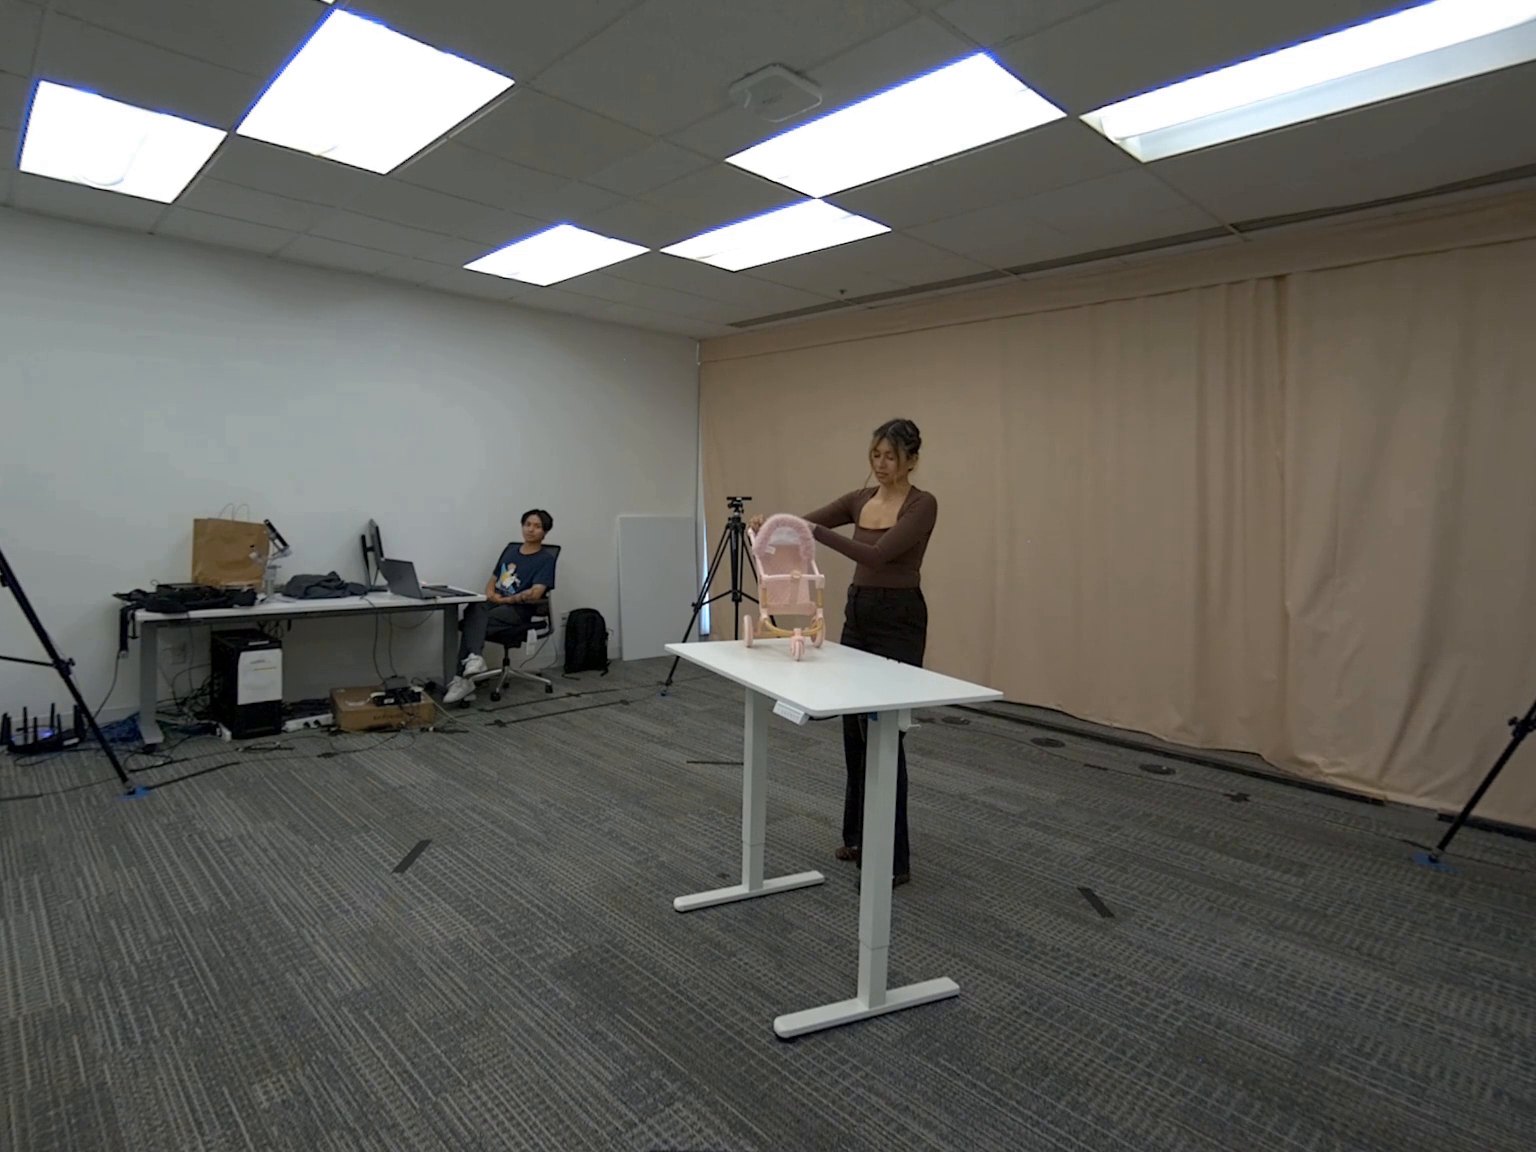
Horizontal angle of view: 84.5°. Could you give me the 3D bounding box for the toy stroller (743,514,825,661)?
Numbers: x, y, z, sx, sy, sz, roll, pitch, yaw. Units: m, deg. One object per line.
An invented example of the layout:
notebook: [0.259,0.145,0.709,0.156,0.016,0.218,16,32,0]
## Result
toy stroller: [0.059,0.034,2.839,0.280,0.540,0.339,0,-13,-6]
